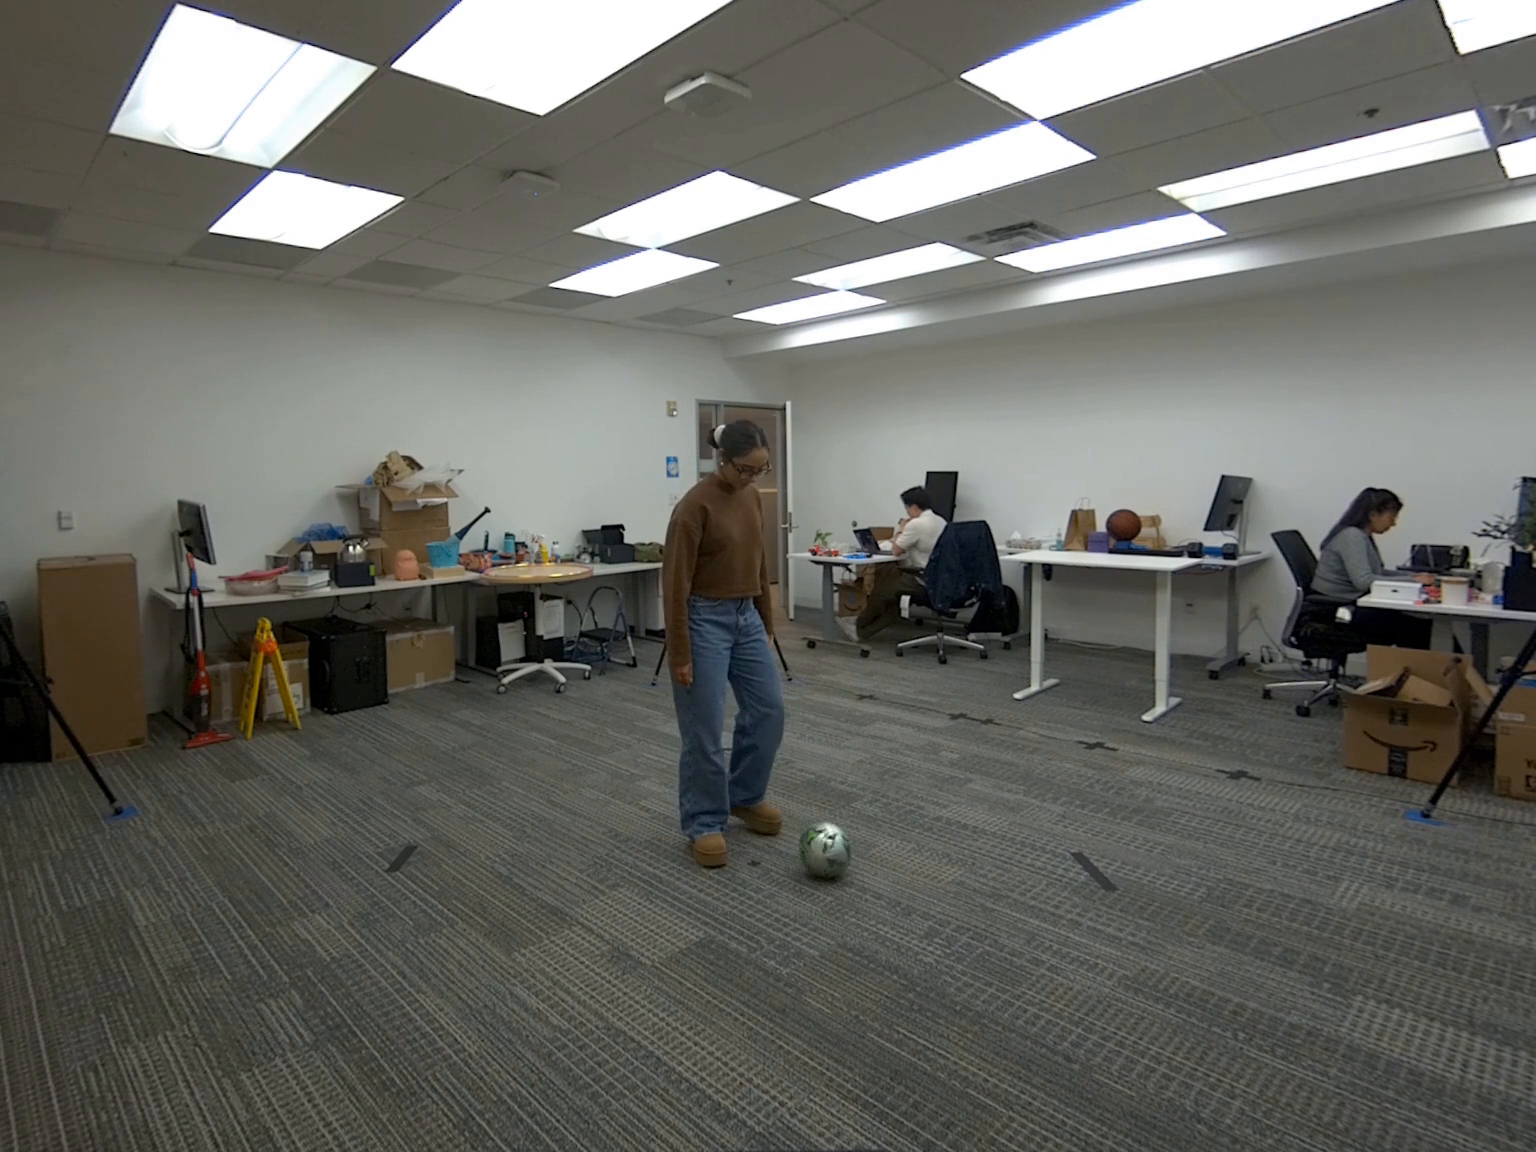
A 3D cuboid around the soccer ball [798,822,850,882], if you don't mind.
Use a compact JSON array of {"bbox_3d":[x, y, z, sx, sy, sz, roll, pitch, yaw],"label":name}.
[{"bbox_3d":[0.206,0.957,2.989,0.187,0.187,0.188,-1,5,-2],"label":"soccer ball"}]
